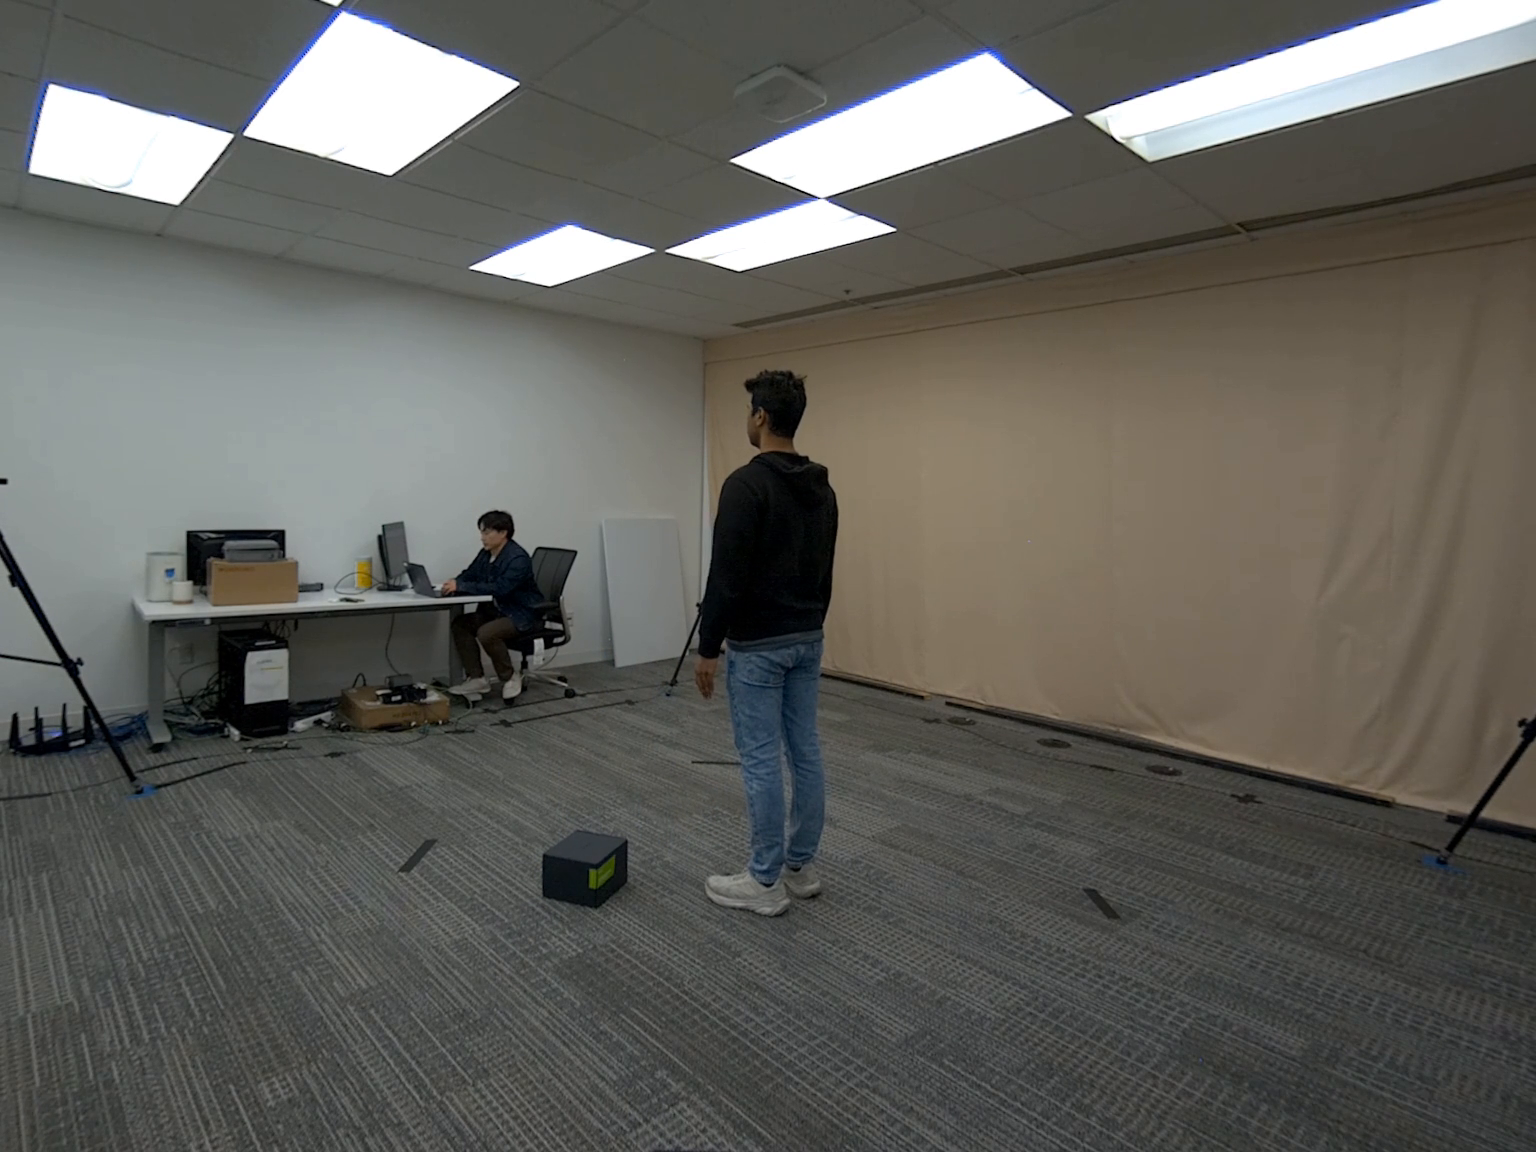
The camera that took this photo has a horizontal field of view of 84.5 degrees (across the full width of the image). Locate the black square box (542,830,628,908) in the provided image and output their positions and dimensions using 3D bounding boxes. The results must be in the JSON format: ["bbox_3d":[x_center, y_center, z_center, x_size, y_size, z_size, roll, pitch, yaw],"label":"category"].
[{"bbox_3d":[-0.642,1.018,2.968,0.220,0.155,0.225,3,5,18],"label":"black square box"}]
